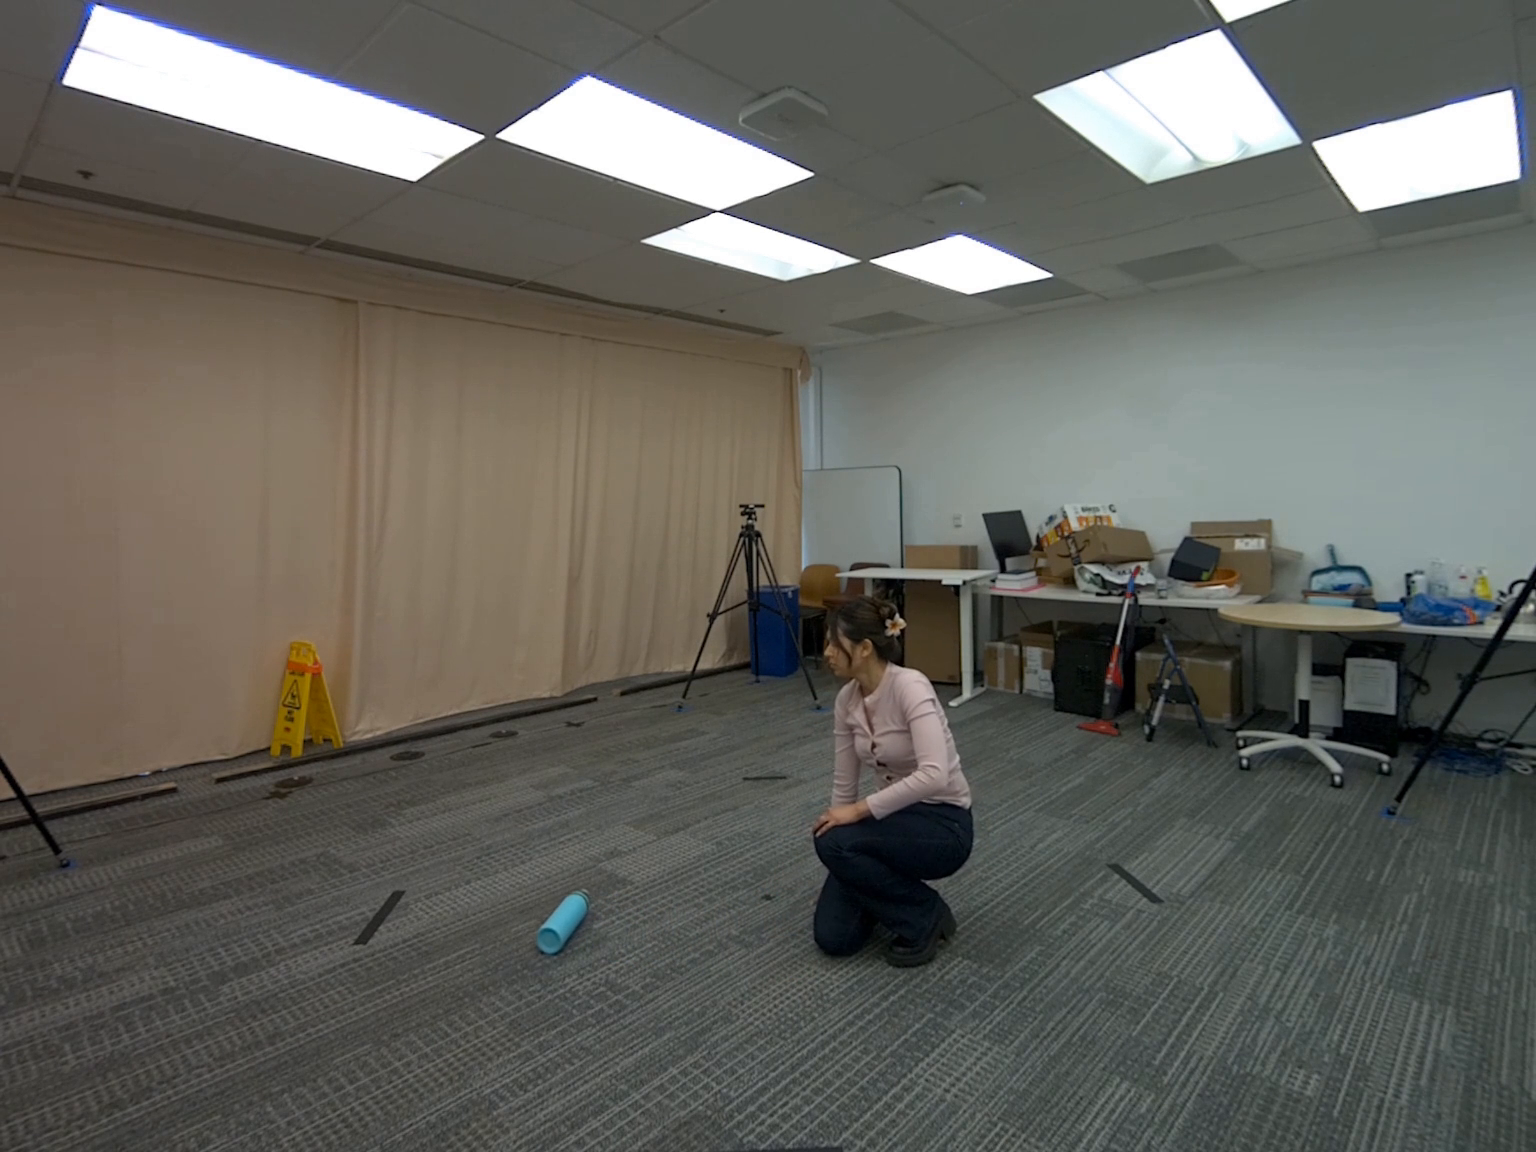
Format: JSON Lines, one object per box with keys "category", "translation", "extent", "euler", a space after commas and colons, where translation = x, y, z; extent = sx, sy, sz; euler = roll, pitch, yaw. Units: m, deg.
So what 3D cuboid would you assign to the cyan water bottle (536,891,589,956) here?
{"category": "cyan water bottle", "translation": [-0.667, 1.131, 2.761], "extent": [0.093, 0.092, 0.281], "euler": [0, 6, 8]}
